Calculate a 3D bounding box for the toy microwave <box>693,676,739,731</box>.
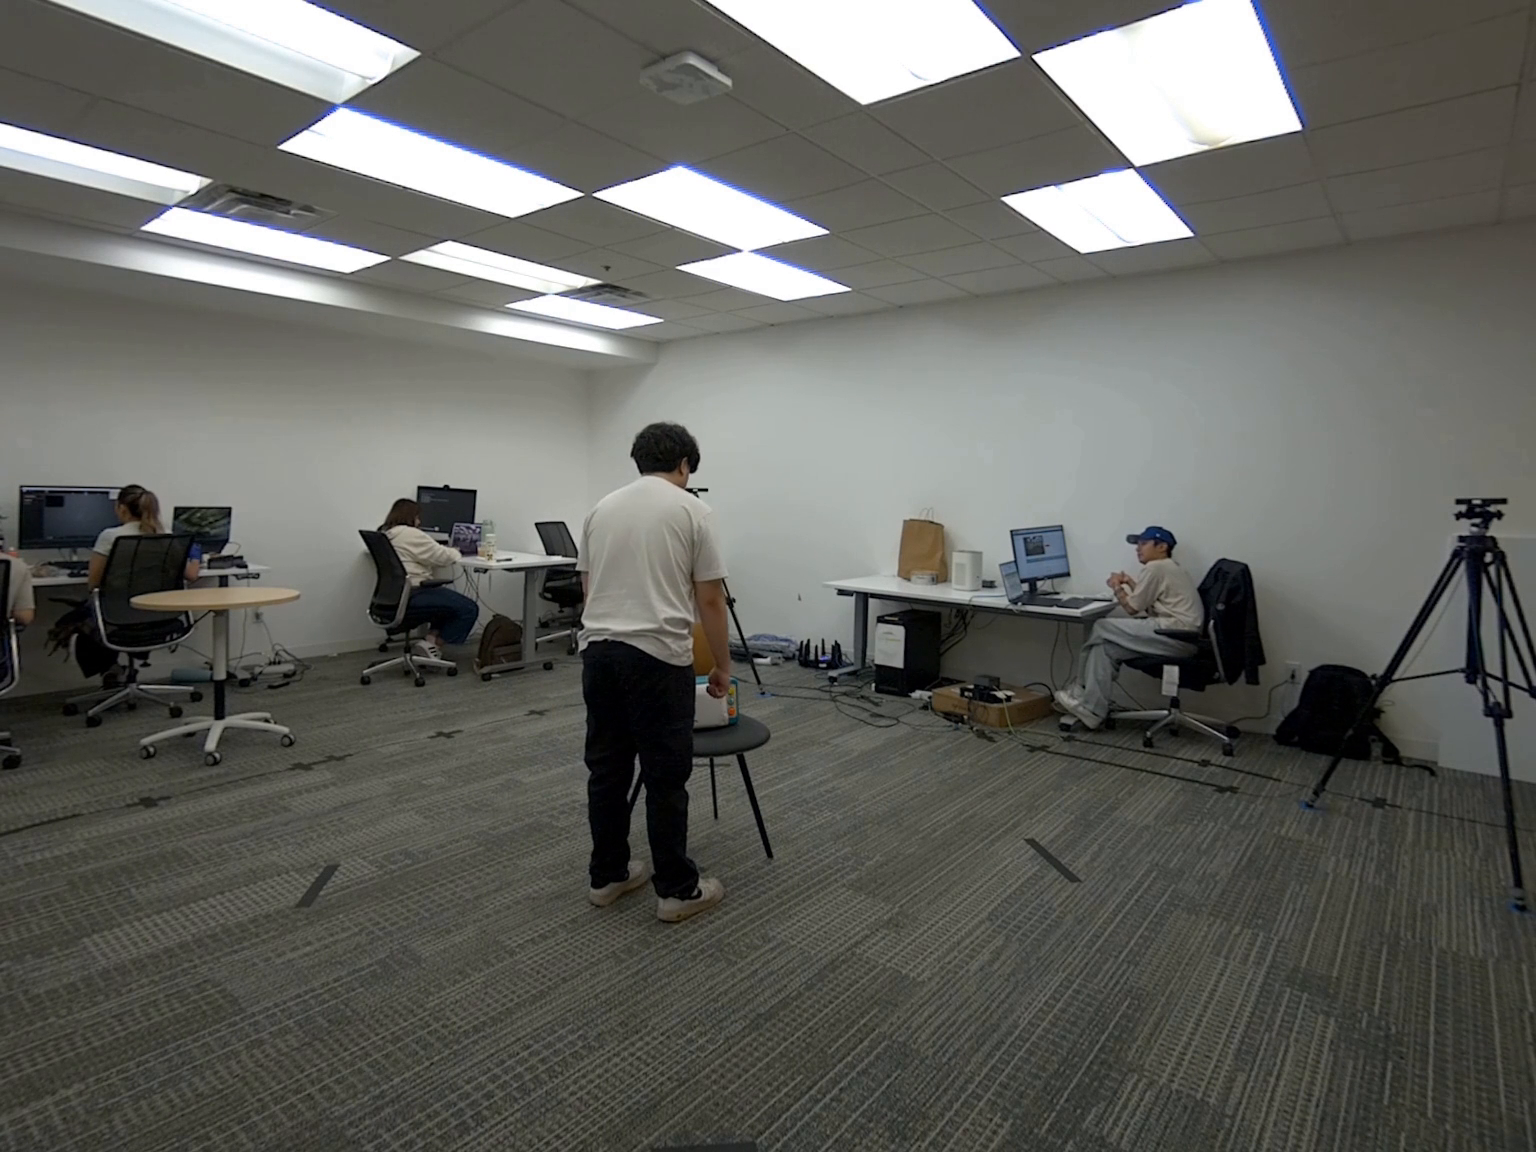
[{"bbox_3d":[-0.270,0.484,3.257,0.280,0.184,0.155,-1,-1,-22],"label":"toy microwave"}]
